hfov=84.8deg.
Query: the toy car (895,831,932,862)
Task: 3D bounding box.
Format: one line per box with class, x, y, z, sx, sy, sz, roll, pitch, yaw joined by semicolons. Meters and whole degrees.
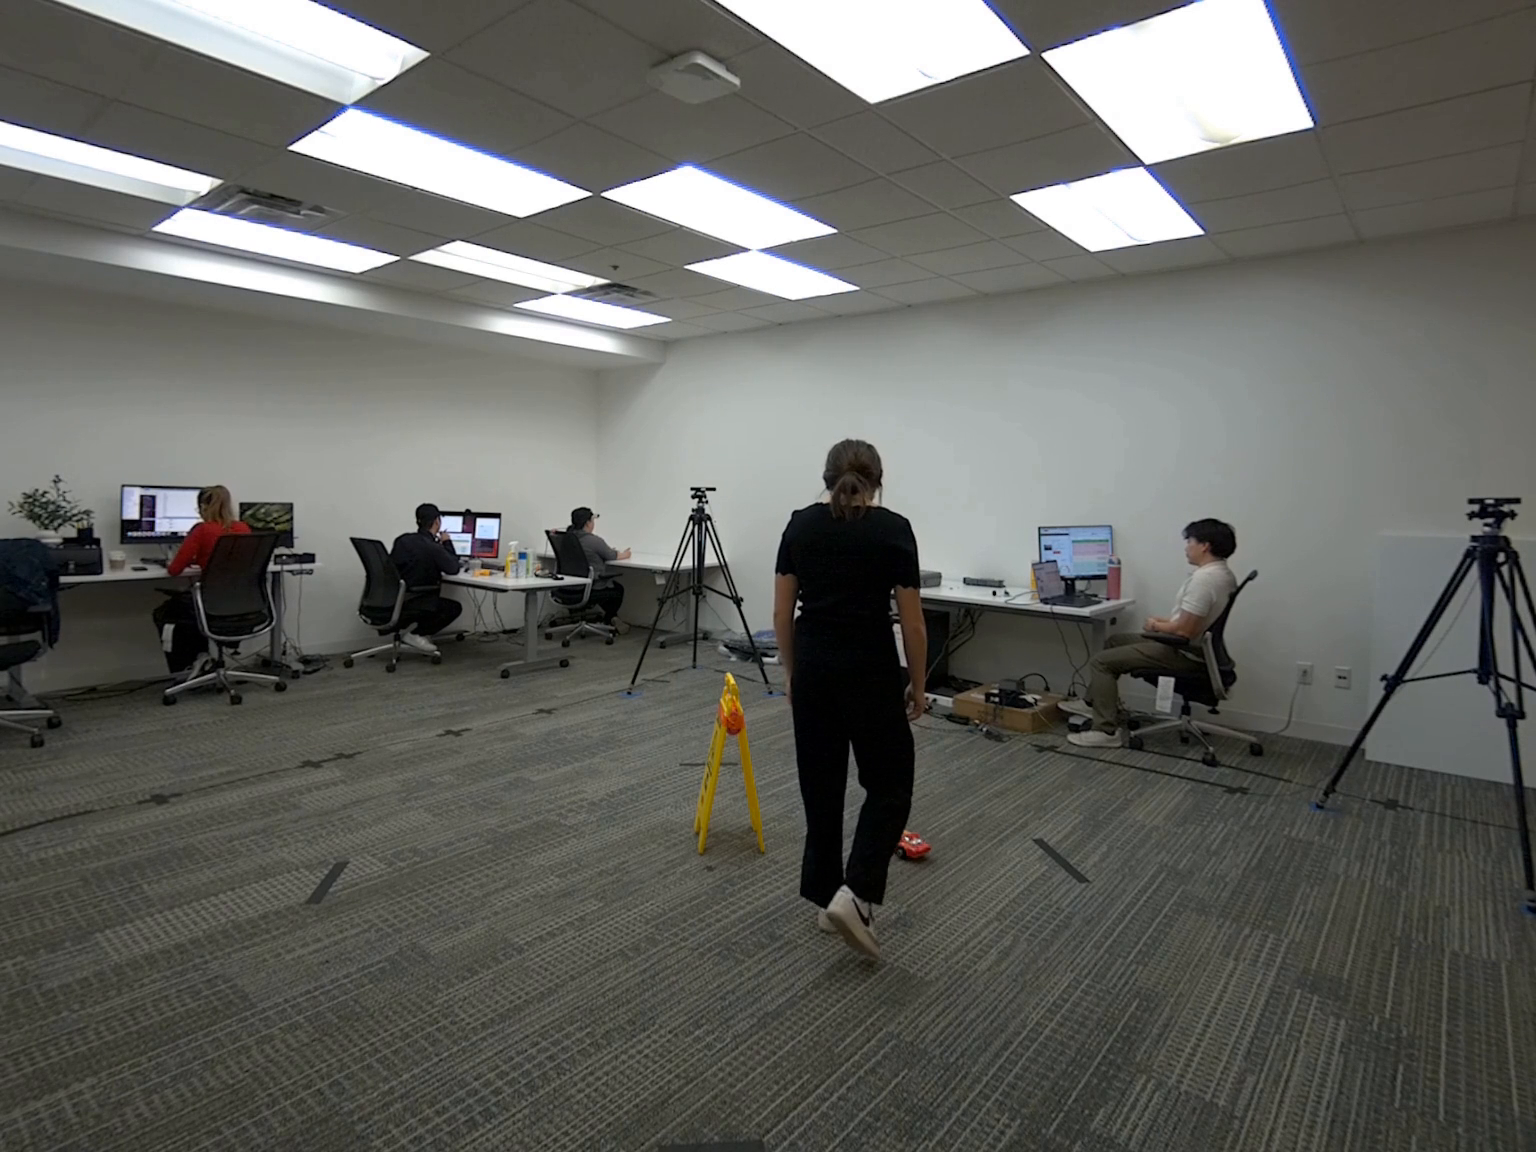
toy car;0.516;1.031;3.300;0.127;0.084;0.260;-2;-5;-33
